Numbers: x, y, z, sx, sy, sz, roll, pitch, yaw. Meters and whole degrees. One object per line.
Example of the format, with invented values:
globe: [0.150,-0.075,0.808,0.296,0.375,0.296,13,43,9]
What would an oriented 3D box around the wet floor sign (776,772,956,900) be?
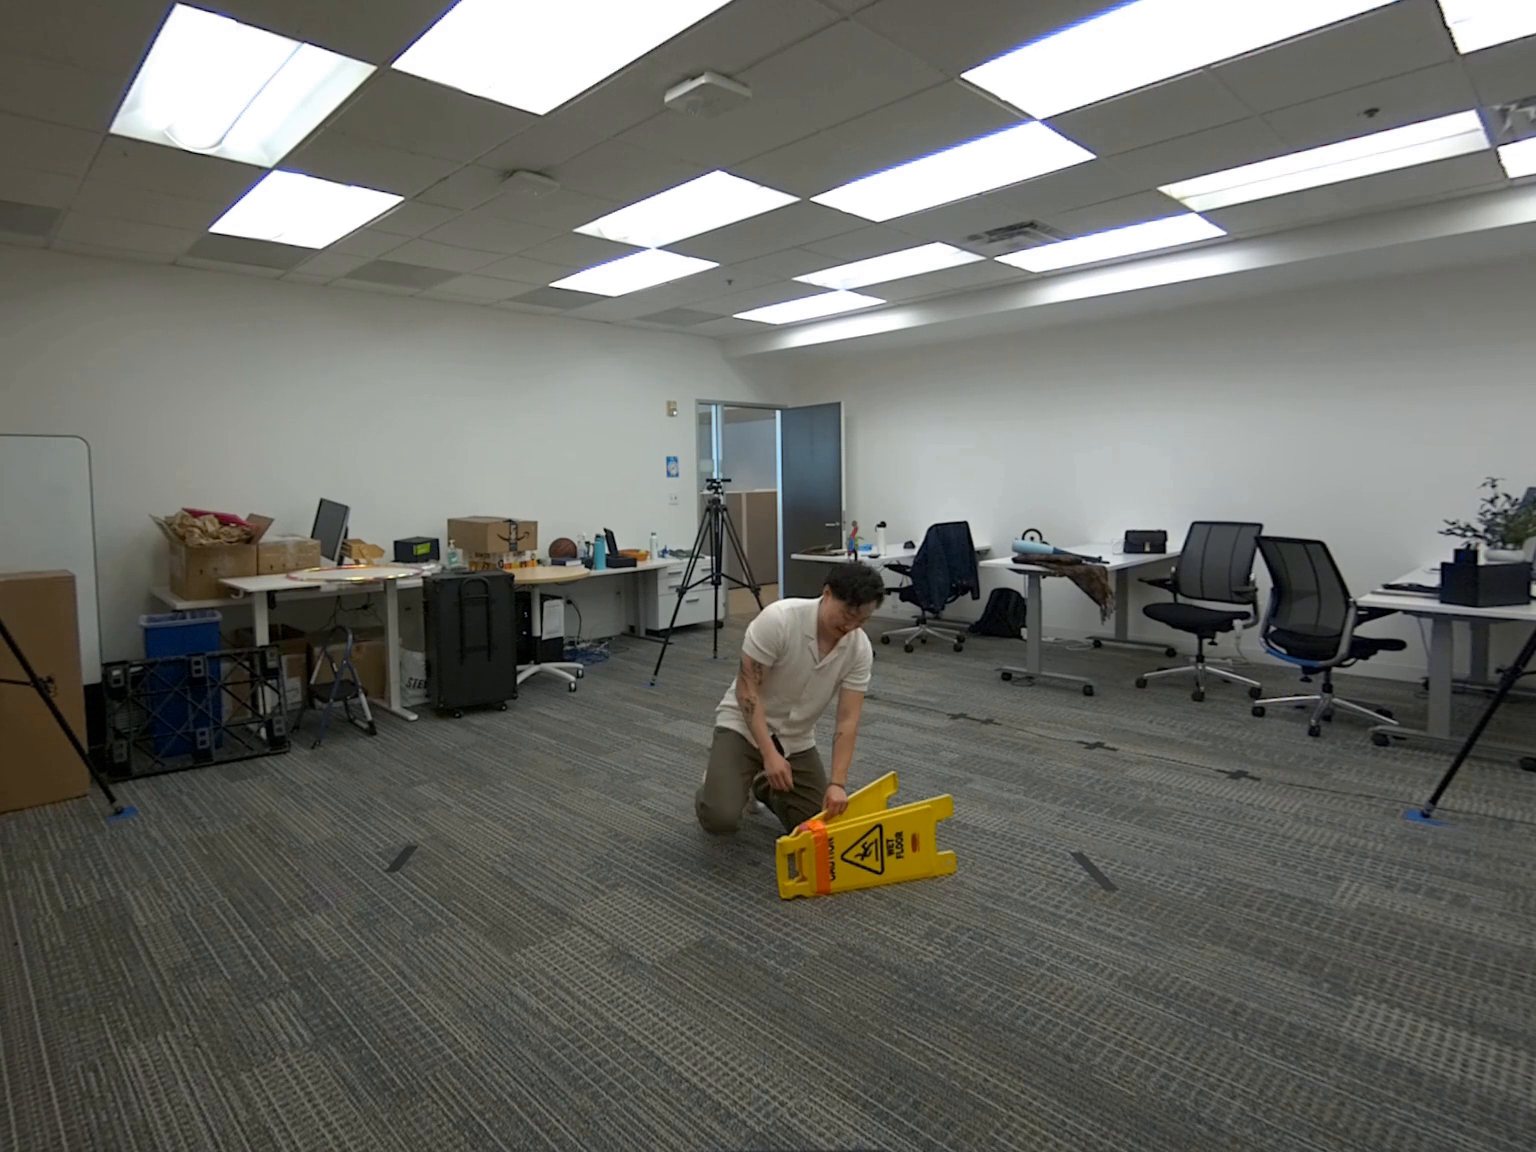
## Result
wet floor sign: [0.305,0.925,2.962,0.632,0.280,0.298,-9,8,-31]
